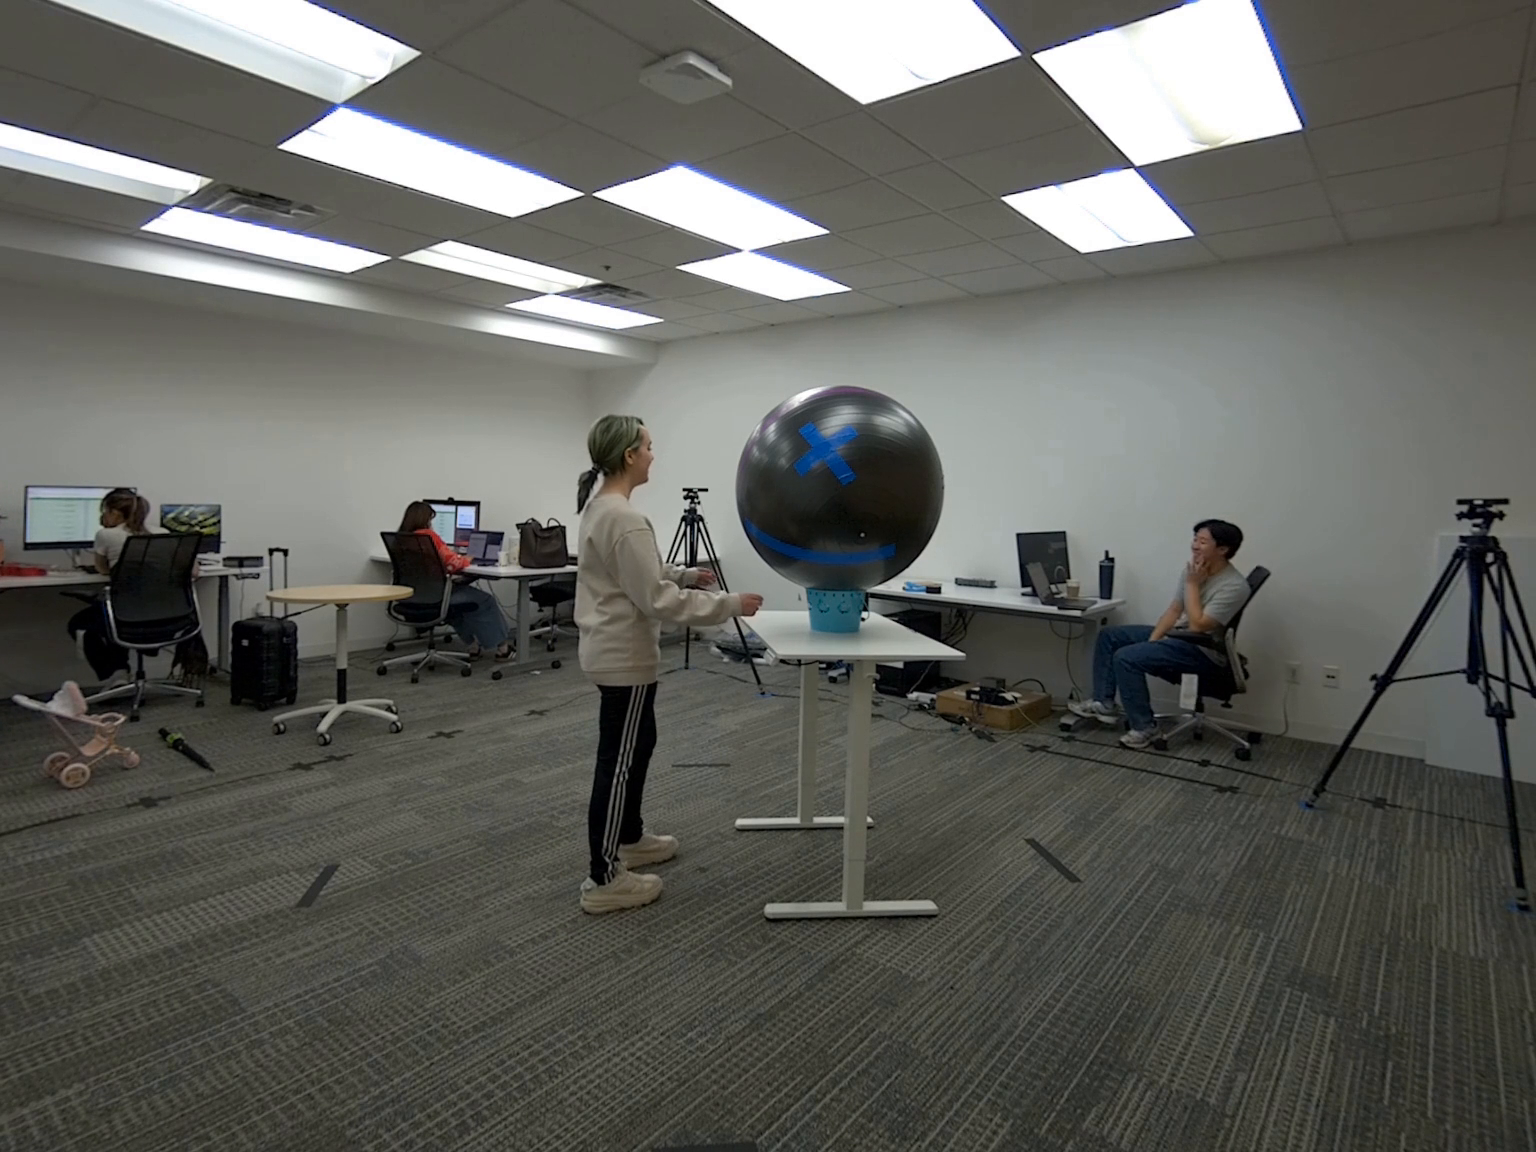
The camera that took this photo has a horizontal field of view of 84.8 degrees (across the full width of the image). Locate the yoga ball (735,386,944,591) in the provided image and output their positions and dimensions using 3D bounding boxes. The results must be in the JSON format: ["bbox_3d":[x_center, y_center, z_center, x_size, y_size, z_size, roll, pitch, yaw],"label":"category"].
[{"bbox_3d":[0.250,-0.315,3.131,0.757,0.755,0.762,1,4,-2],"label":"yoga ball"}]
